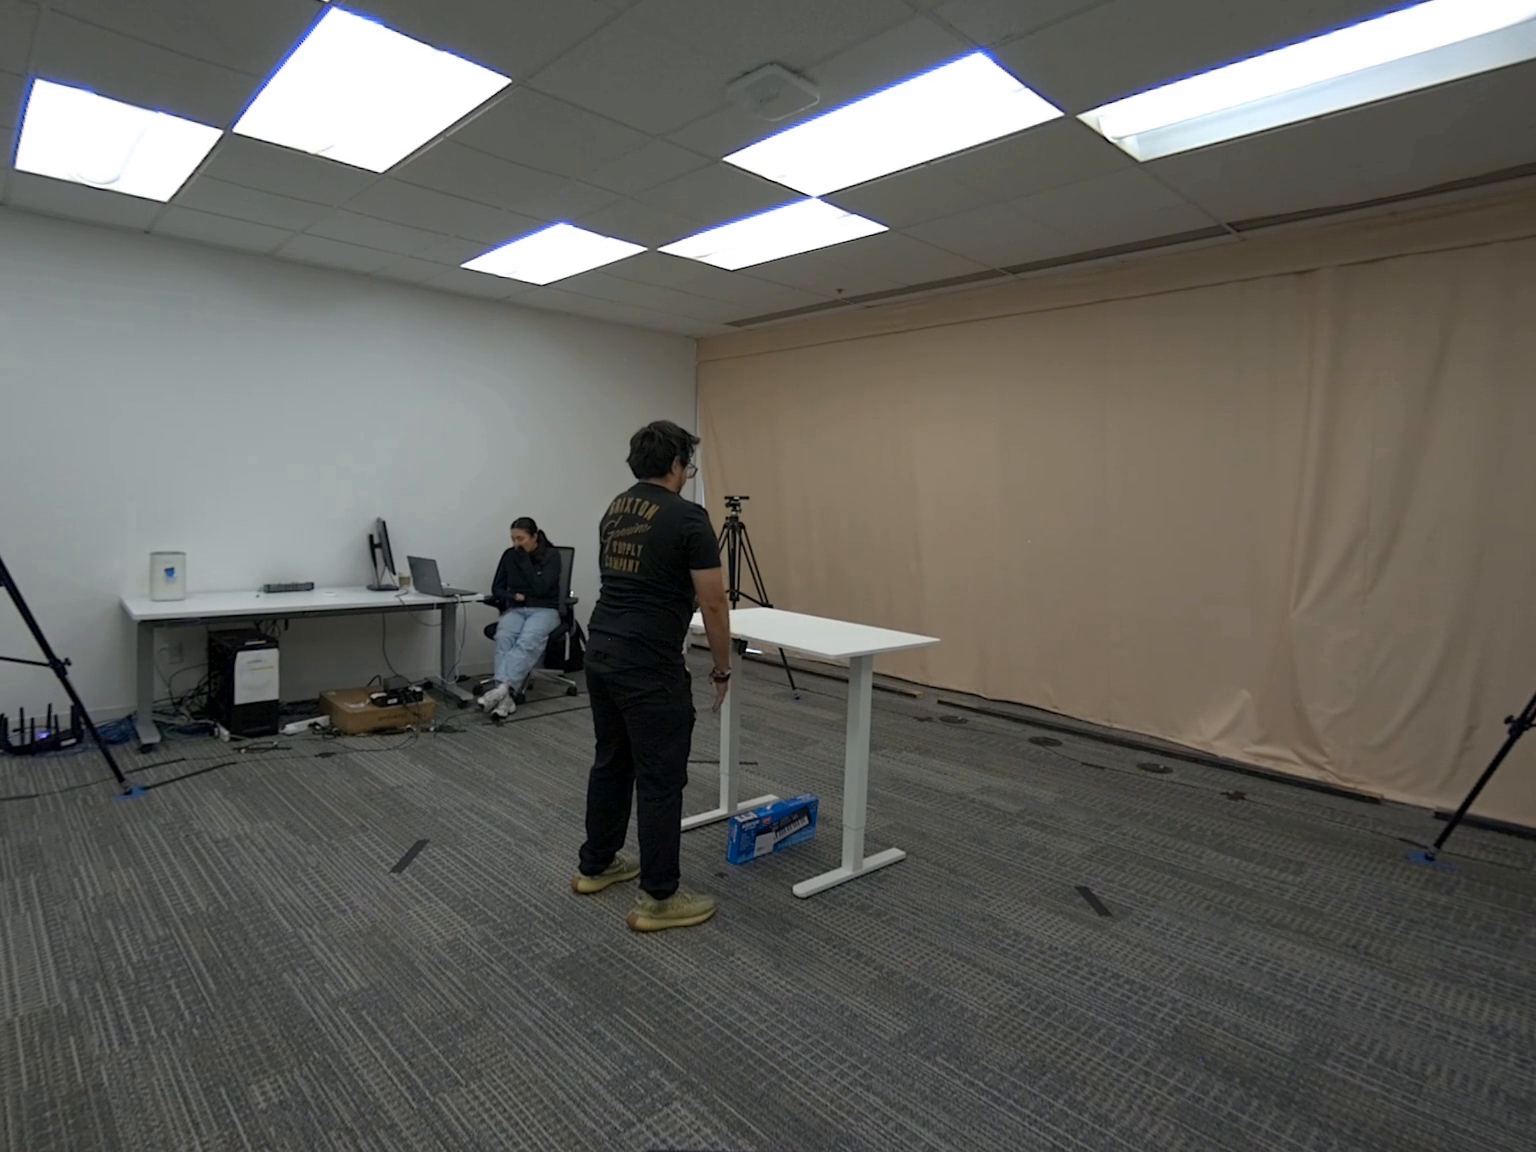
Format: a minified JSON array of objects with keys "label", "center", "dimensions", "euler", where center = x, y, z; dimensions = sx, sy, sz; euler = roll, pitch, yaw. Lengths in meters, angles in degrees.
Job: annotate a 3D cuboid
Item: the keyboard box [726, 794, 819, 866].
[{"label":"keyboard box","center":[0.017,1.000,3.335],"dimensions":[0.427,0.175,0.061],"euler":[-3,11,-43]}]
